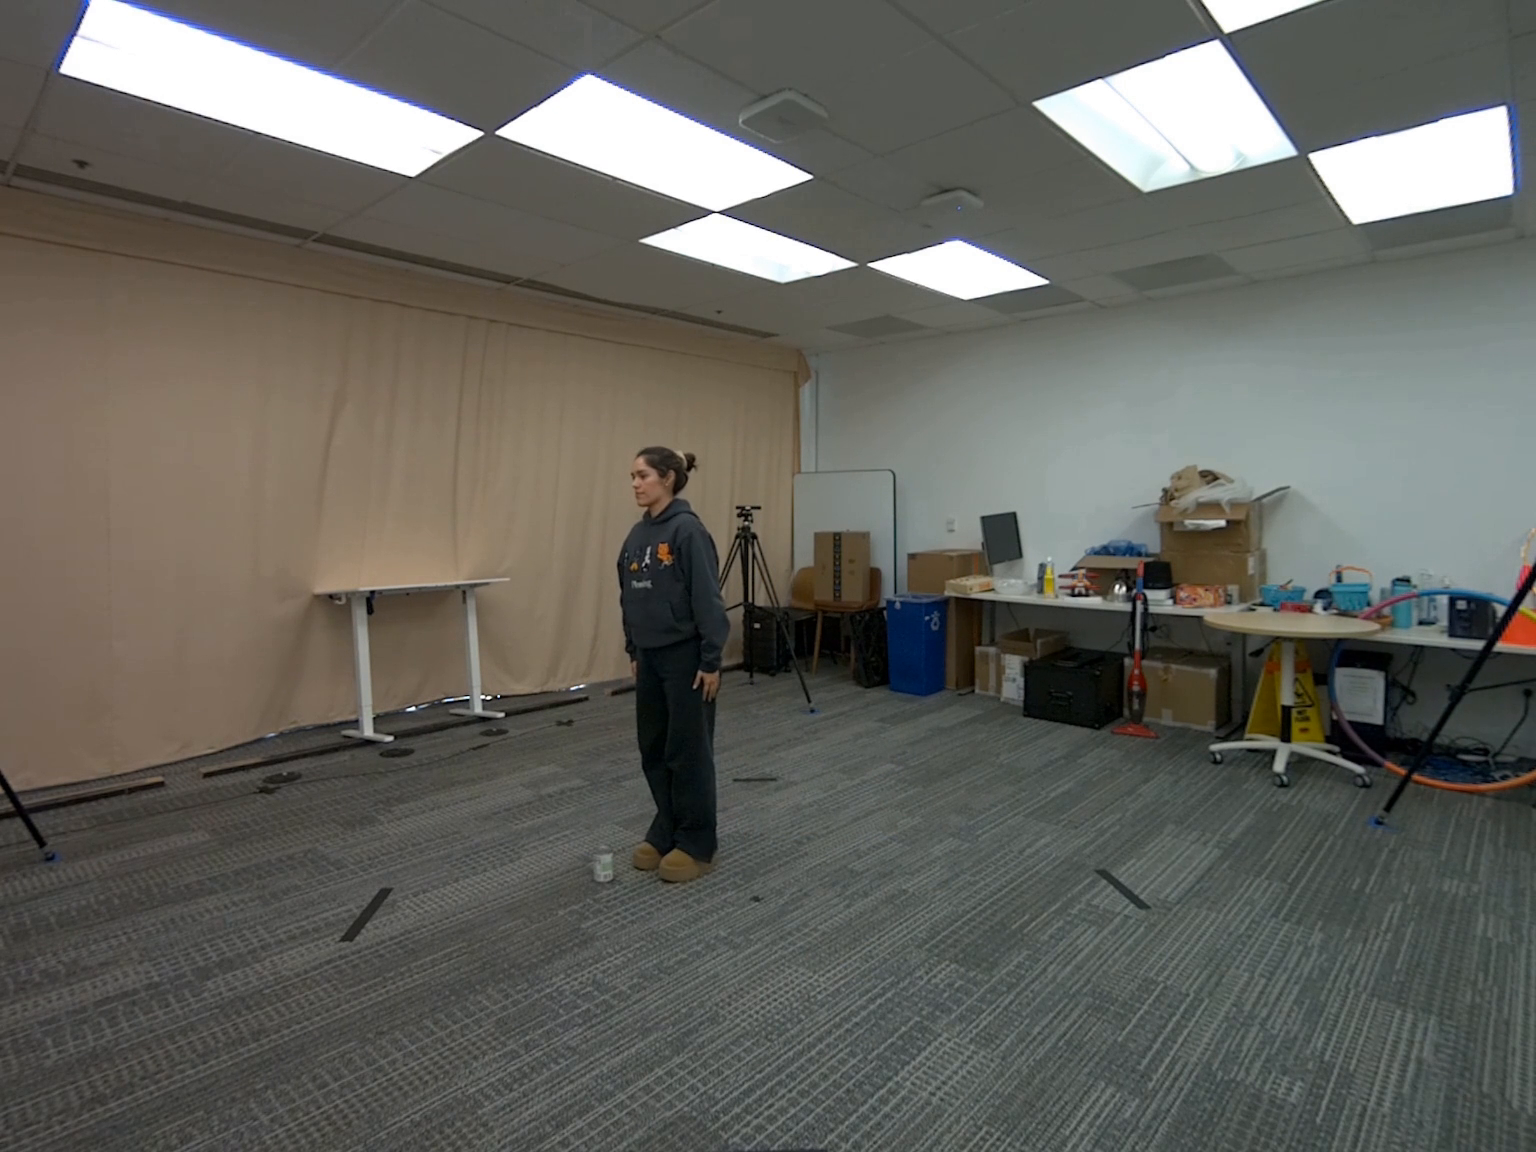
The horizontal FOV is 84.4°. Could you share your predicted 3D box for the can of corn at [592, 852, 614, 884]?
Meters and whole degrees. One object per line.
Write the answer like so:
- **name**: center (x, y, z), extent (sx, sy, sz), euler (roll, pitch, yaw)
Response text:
- **can of corn**: center (-0.609, 1.085, 3.154), extent (0.074, 0.111, 0.074), euler (5, 4, -2)
